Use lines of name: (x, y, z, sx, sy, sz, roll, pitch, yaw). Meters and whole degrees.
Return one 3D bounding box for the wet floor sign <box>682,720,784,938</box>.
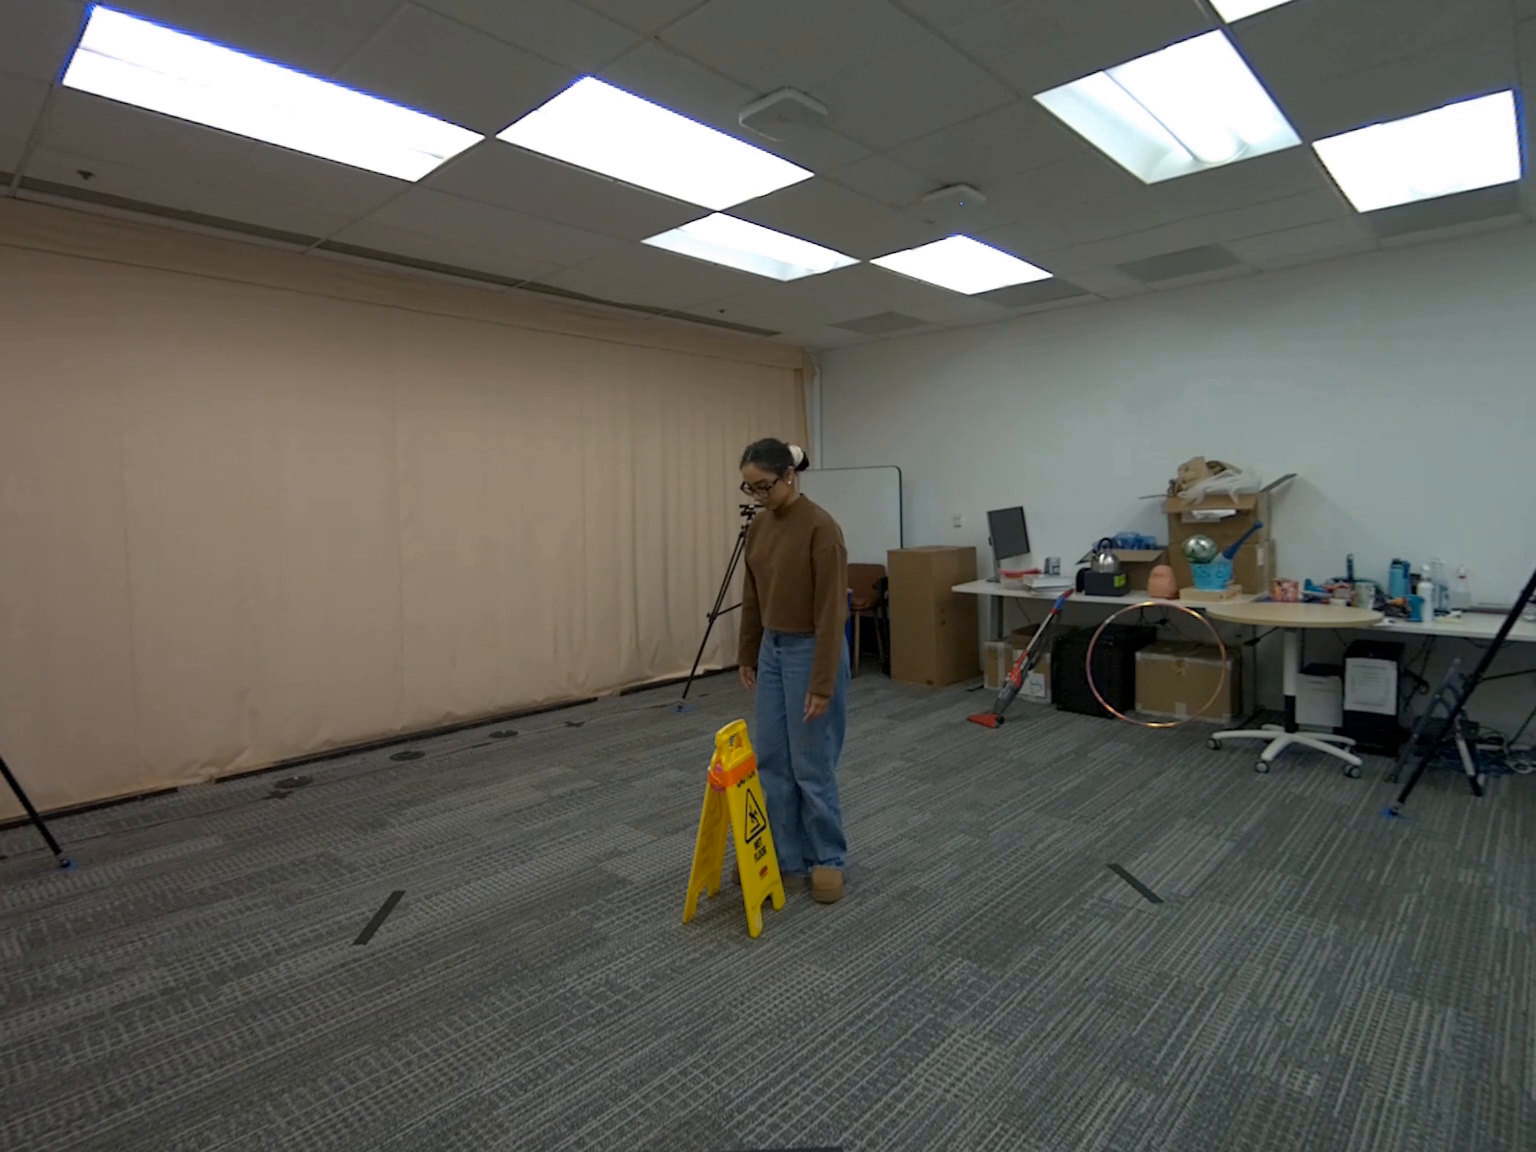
wet floor sign: (-0.120, 0.826, 2.862, 0.297, 0.645, 0.276, 0, 2, 23)
